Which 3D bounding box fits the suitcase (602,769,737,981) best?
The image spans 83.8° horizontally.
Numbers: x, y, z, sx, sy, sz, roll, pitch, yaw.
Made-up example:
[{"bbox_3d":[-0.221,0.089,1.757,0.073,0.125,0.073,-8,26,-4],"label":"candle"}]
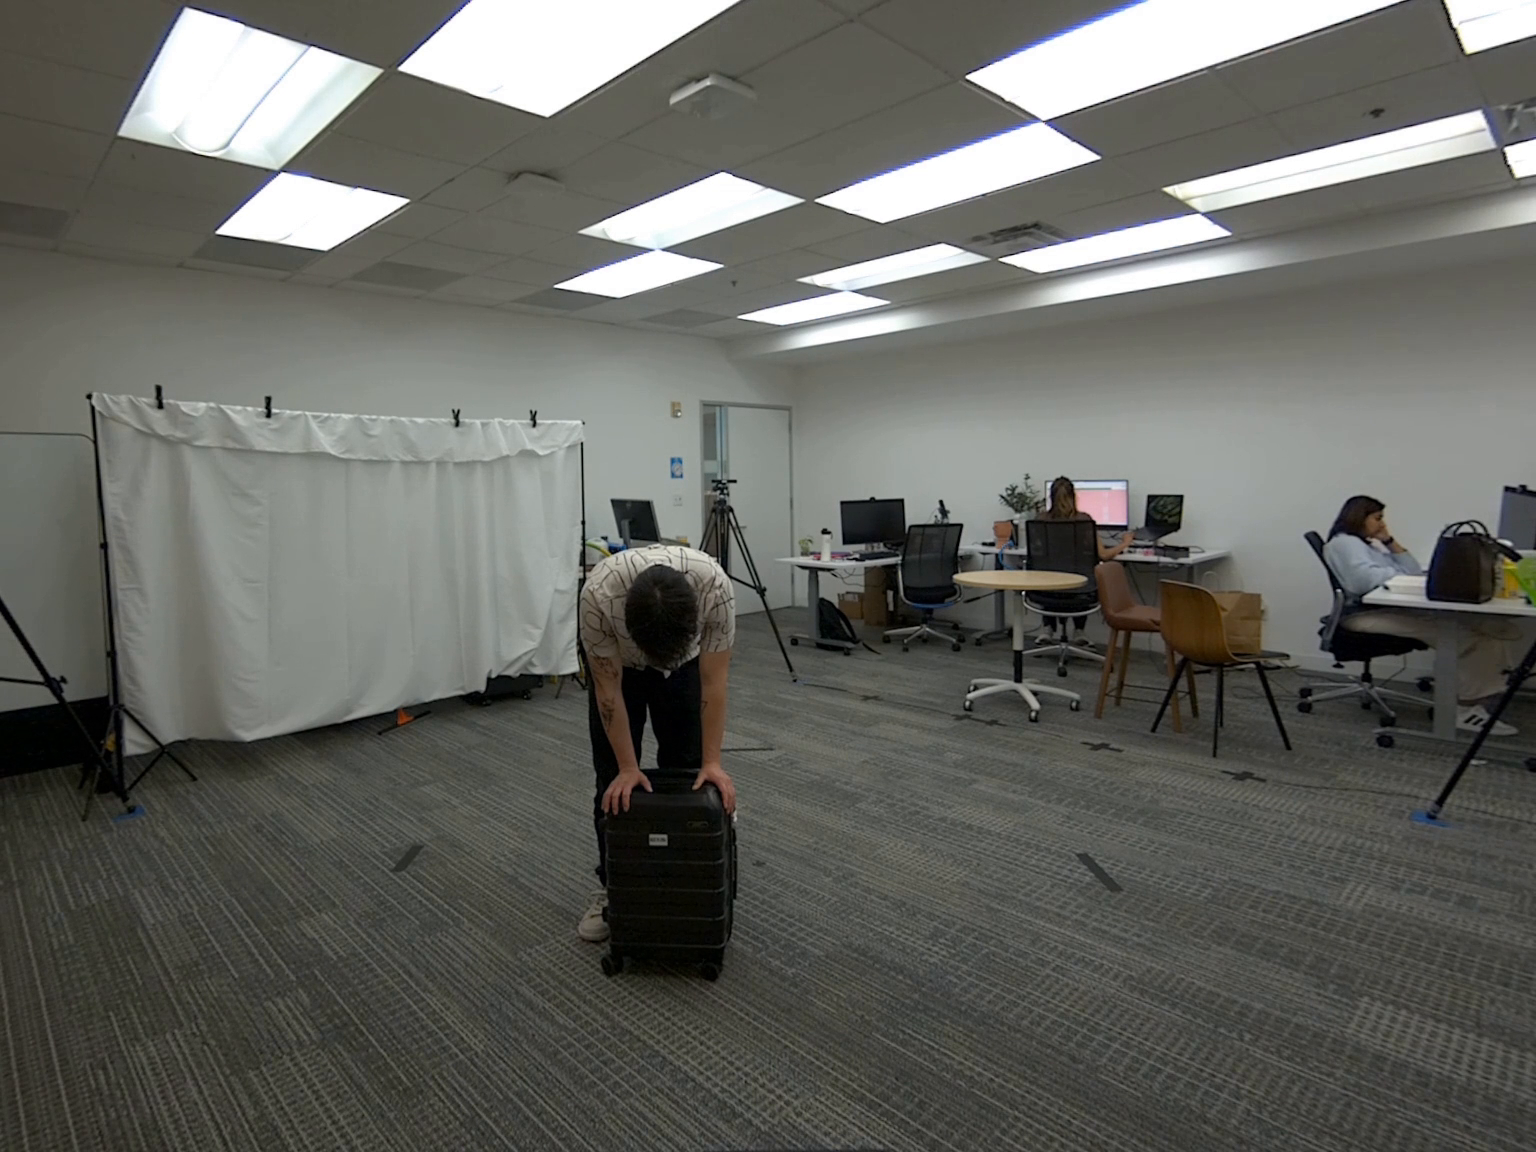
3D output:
[{"bbox_3d":[-0.281,0.851,2.494,0.377,0.546,0.248,0,6,5],"label":"suitcase"}]
